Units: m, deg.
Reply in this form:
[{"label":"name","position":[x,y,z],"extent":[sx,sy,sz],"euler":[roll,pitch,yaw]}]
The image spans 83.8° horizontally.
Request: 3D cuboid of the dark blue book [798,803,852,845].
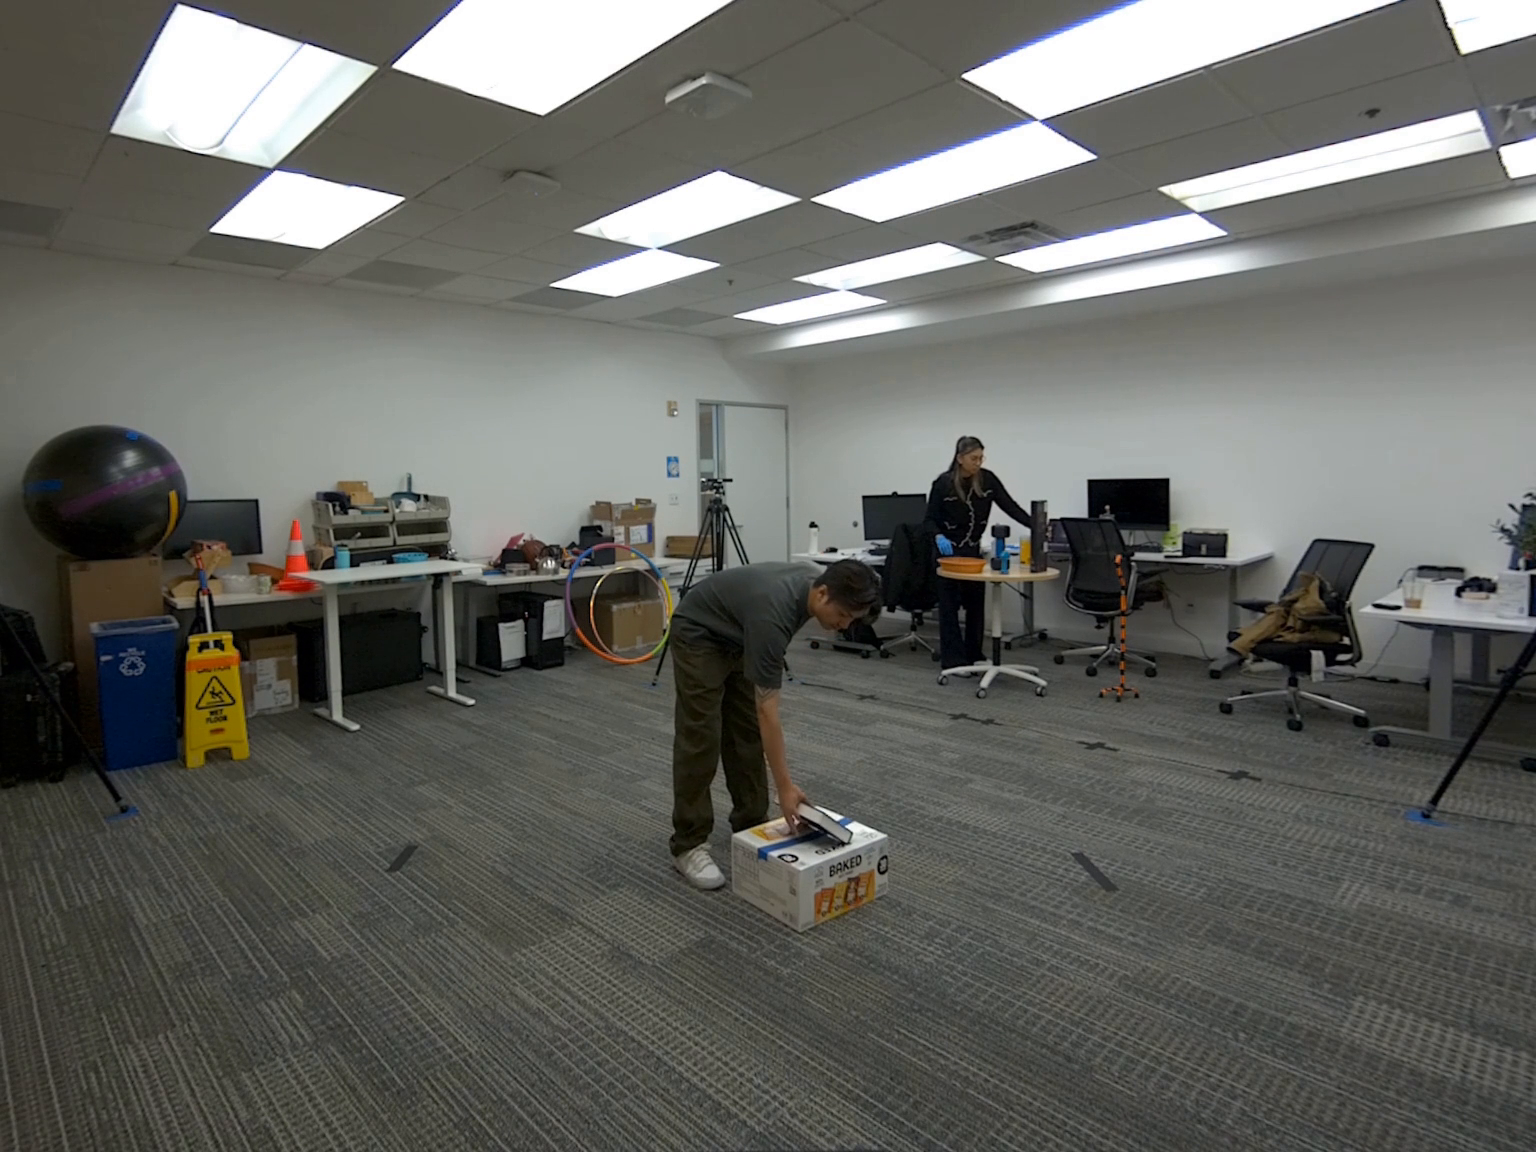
[{"label":"dark blue book","position":[0.162,0.811,2.870],"extent":[0.159,0.045,0.251],"euler":[39,-18,-25]}]
